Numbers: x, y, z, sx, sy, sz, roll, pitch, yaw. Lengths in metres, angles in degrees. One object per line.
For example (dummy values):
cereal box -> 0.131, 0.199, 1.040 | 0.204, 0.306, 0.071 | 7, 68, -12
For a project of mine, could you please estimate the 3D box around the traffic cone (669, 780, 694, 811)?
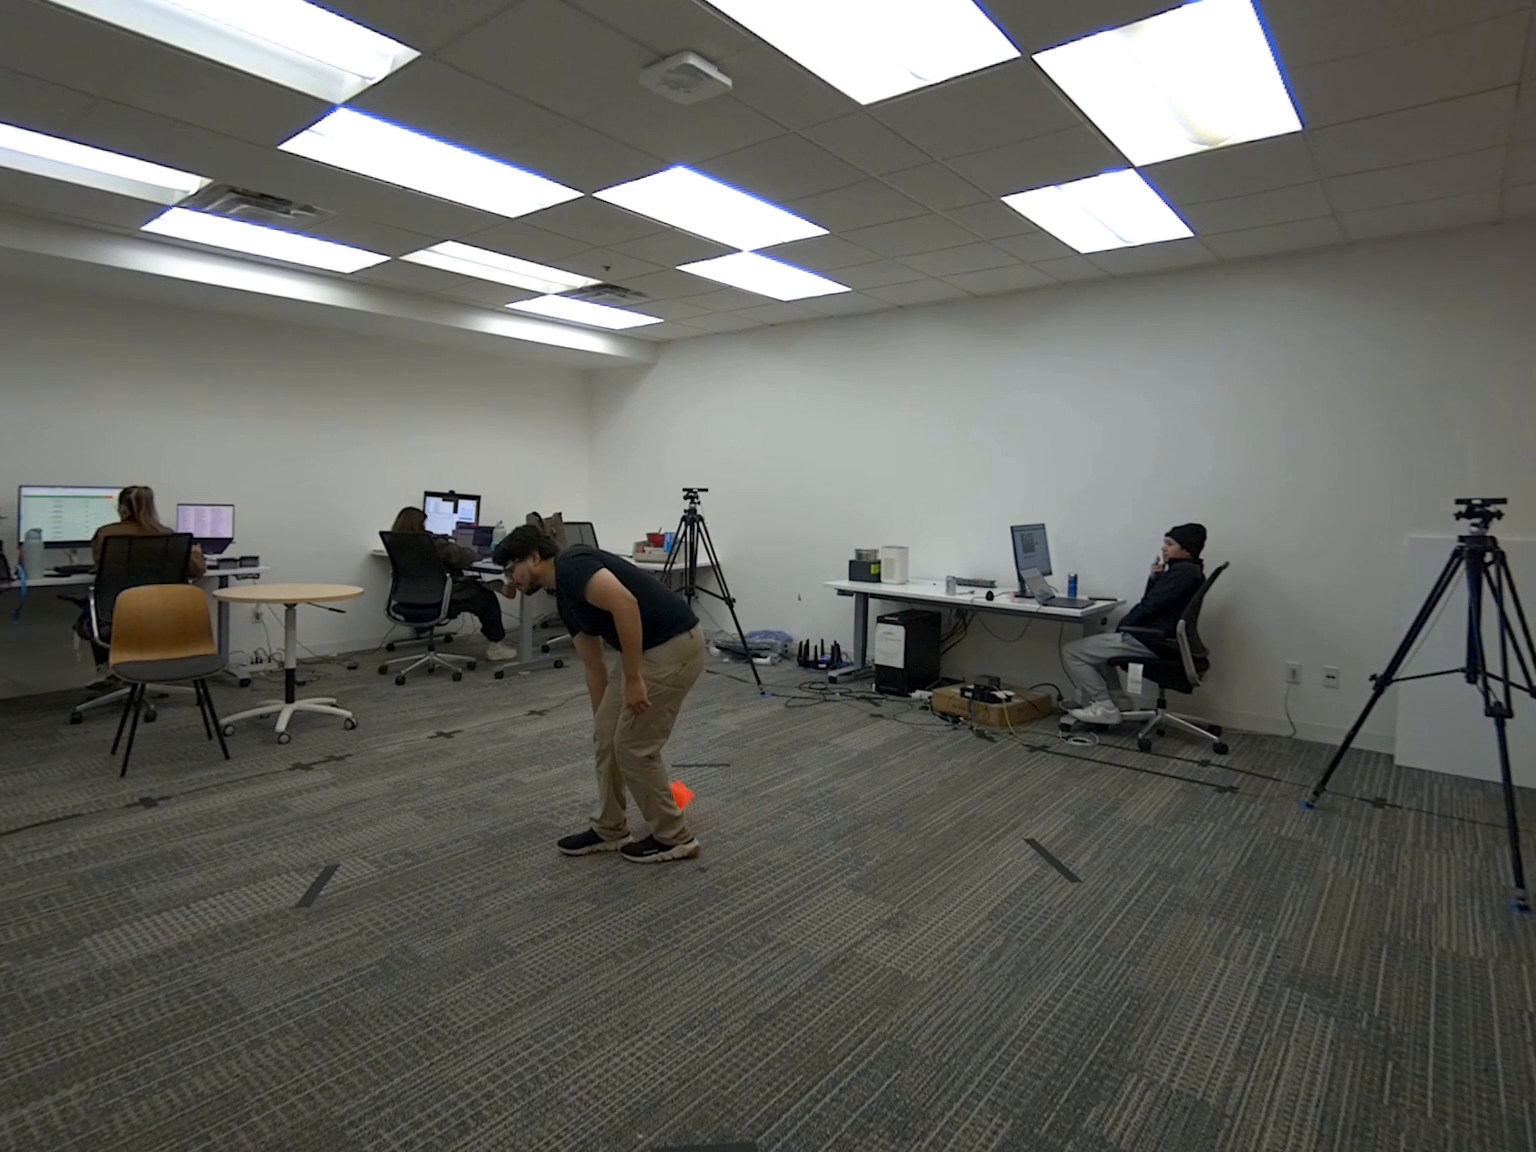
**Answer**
traffic cone -> -0.527, 0.823, 3.486 | 0.205, 0.374, 0.208 | -49, 21, -23
